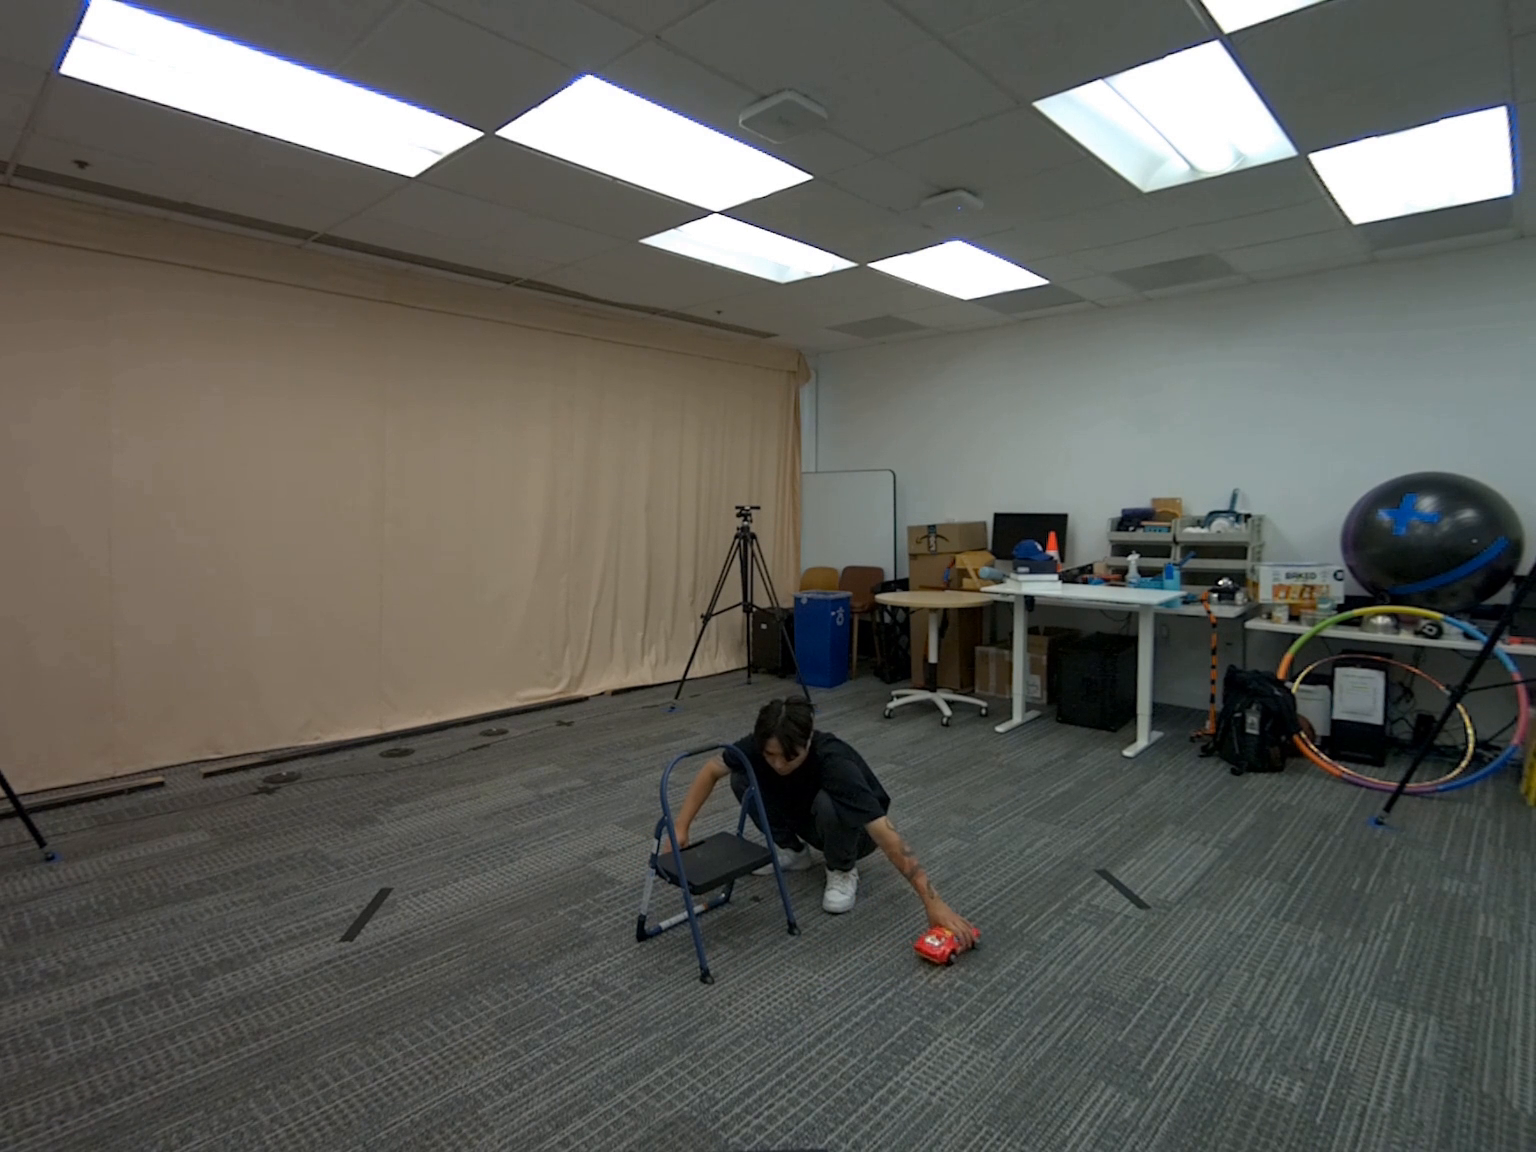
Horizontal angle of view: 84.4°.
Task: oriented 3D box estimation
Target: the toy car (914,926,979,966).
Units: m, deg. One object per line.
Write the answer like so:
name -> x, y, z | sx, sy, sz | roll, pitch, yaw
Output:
toy car -> 0.549, 1.143, 2.595 | 0.246, 0.083, 0.135 | 11, 0, -44
